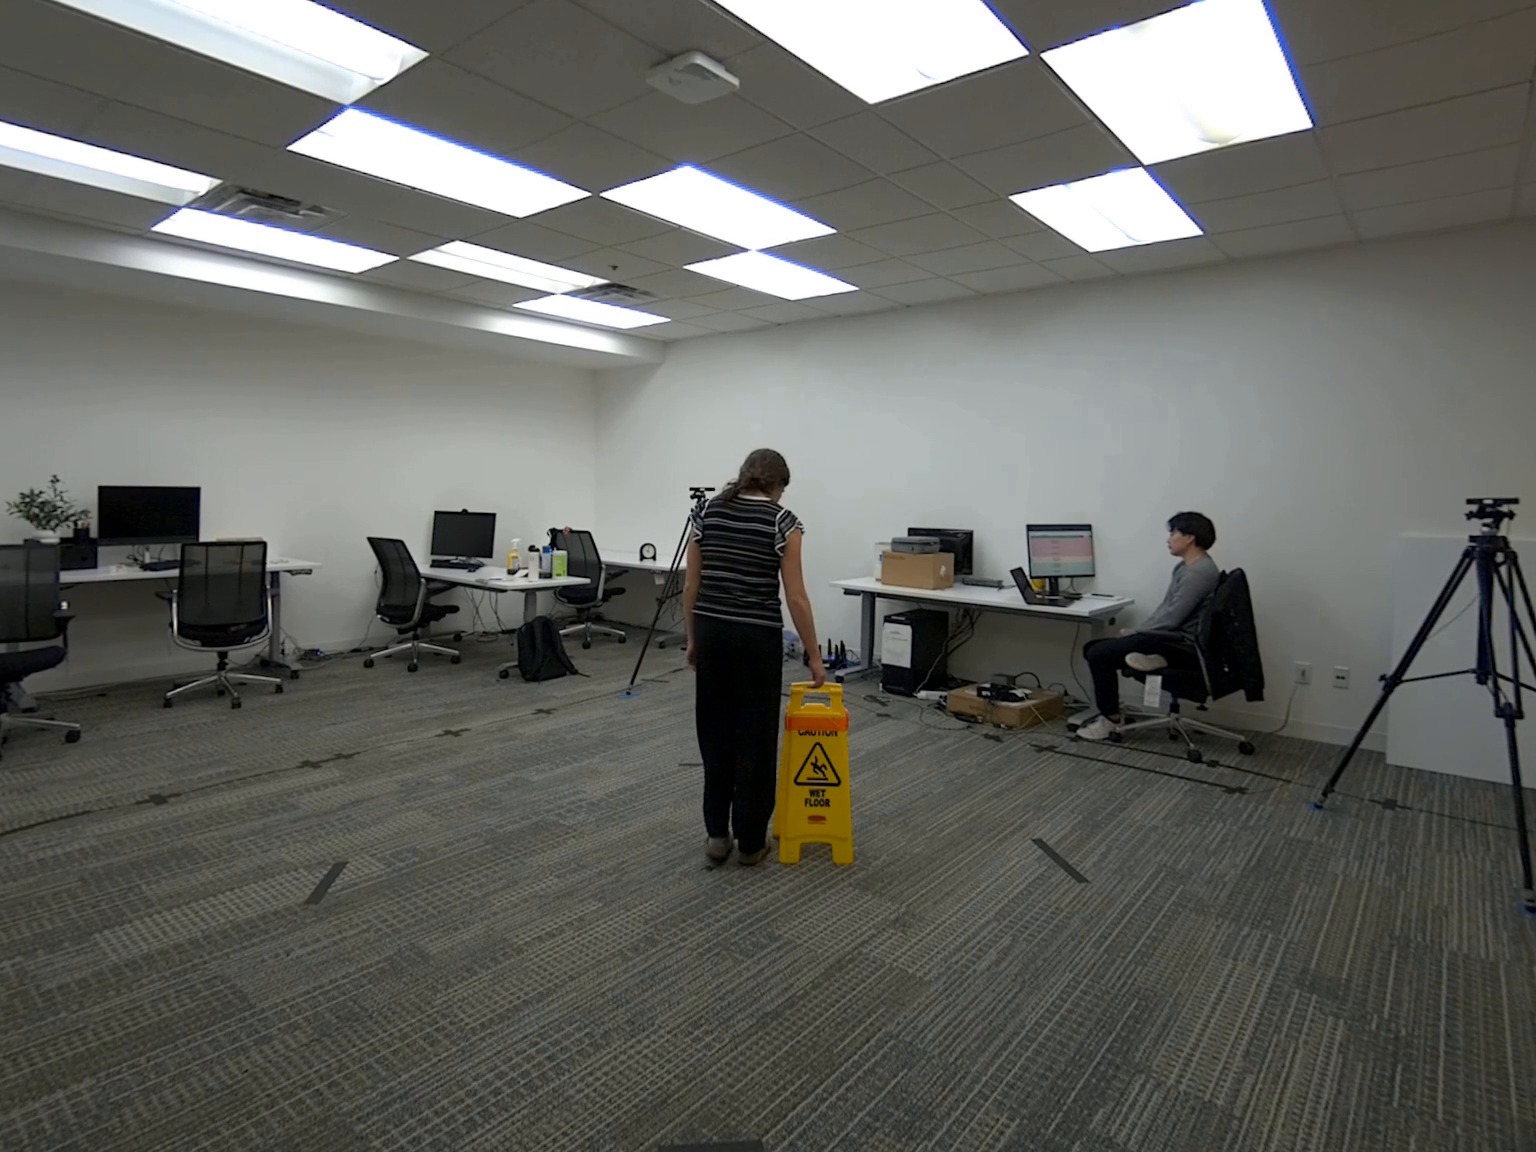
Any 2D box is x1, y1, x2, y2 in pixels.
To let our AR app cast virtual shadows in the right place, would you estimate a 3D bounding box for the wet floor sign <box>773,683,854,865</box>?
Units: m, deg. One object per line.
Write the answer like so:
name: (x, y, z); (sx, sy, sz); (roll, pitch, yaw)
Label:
wet floor sign: (0.166, 0.737, 3.272); (0.281, 0.643, 0.292); (0, 5, -4)
